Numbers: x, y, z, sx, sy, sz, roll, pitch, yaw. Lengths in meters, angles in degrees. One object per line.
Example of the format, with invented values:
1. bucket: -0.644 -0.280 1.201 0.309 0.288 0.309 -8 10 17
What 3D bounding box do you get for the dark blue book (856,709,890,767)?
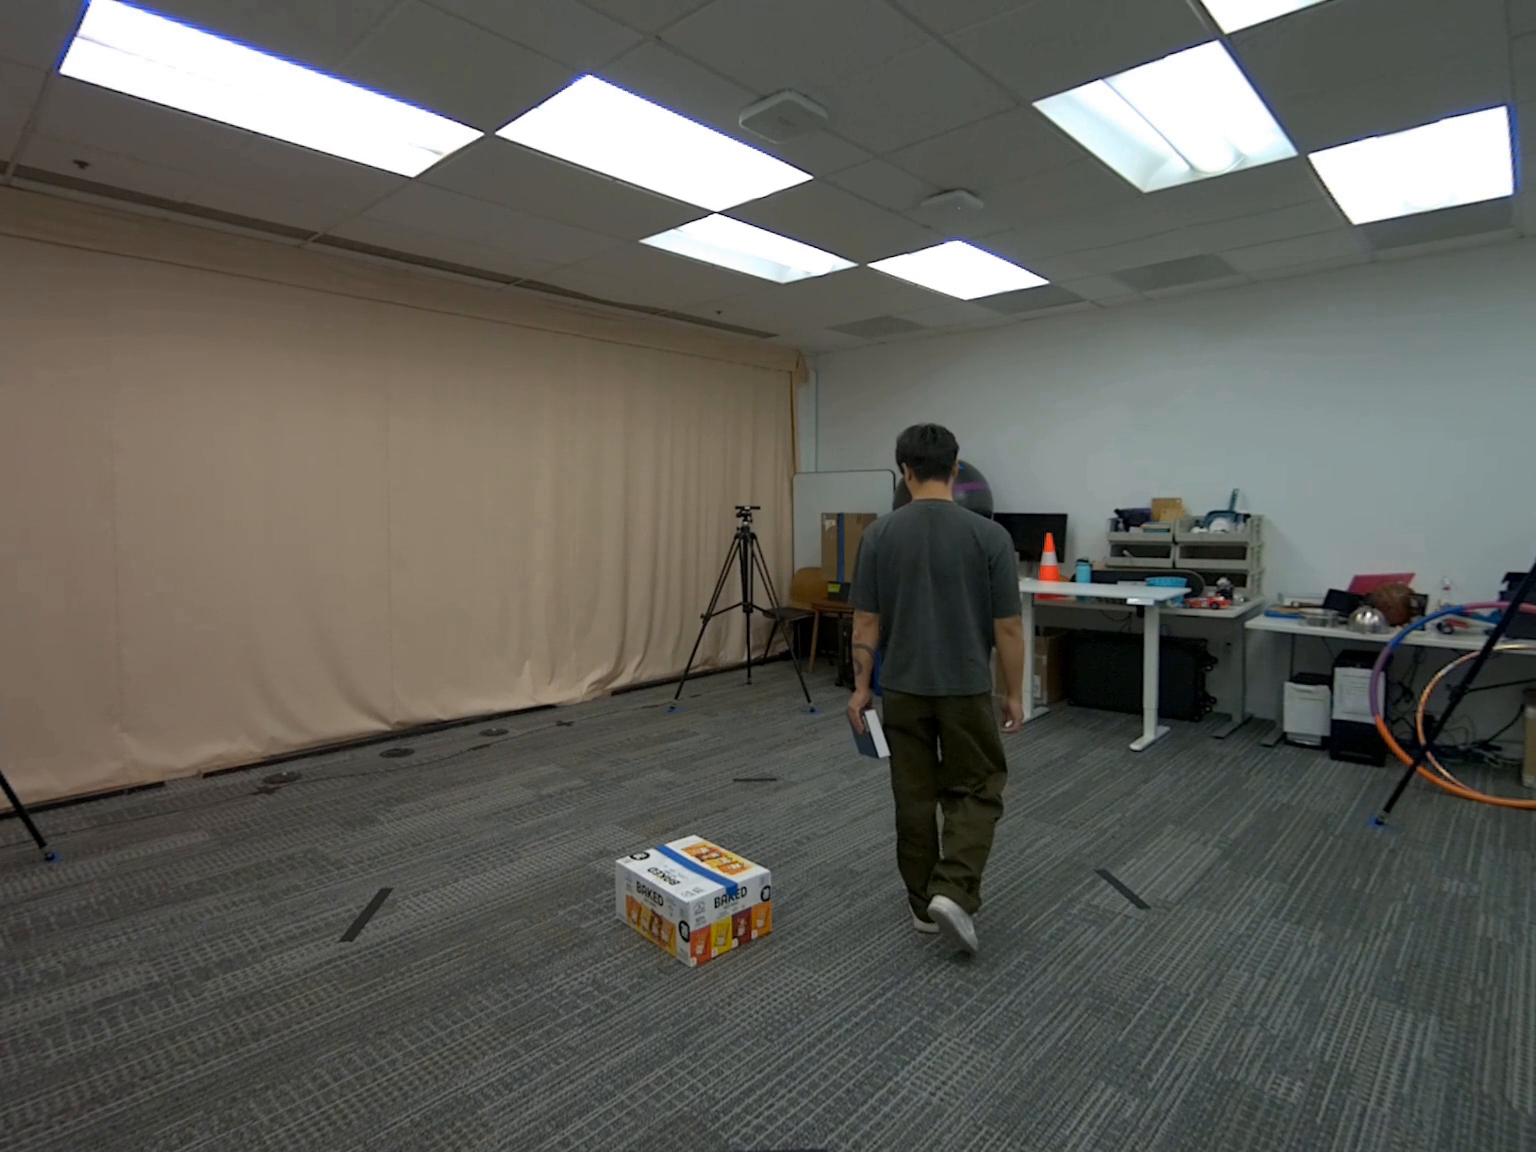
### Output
1. dark blue book: 0.348 0.536 2.856 0.045 0.164 0.245 -12 -4 -7
